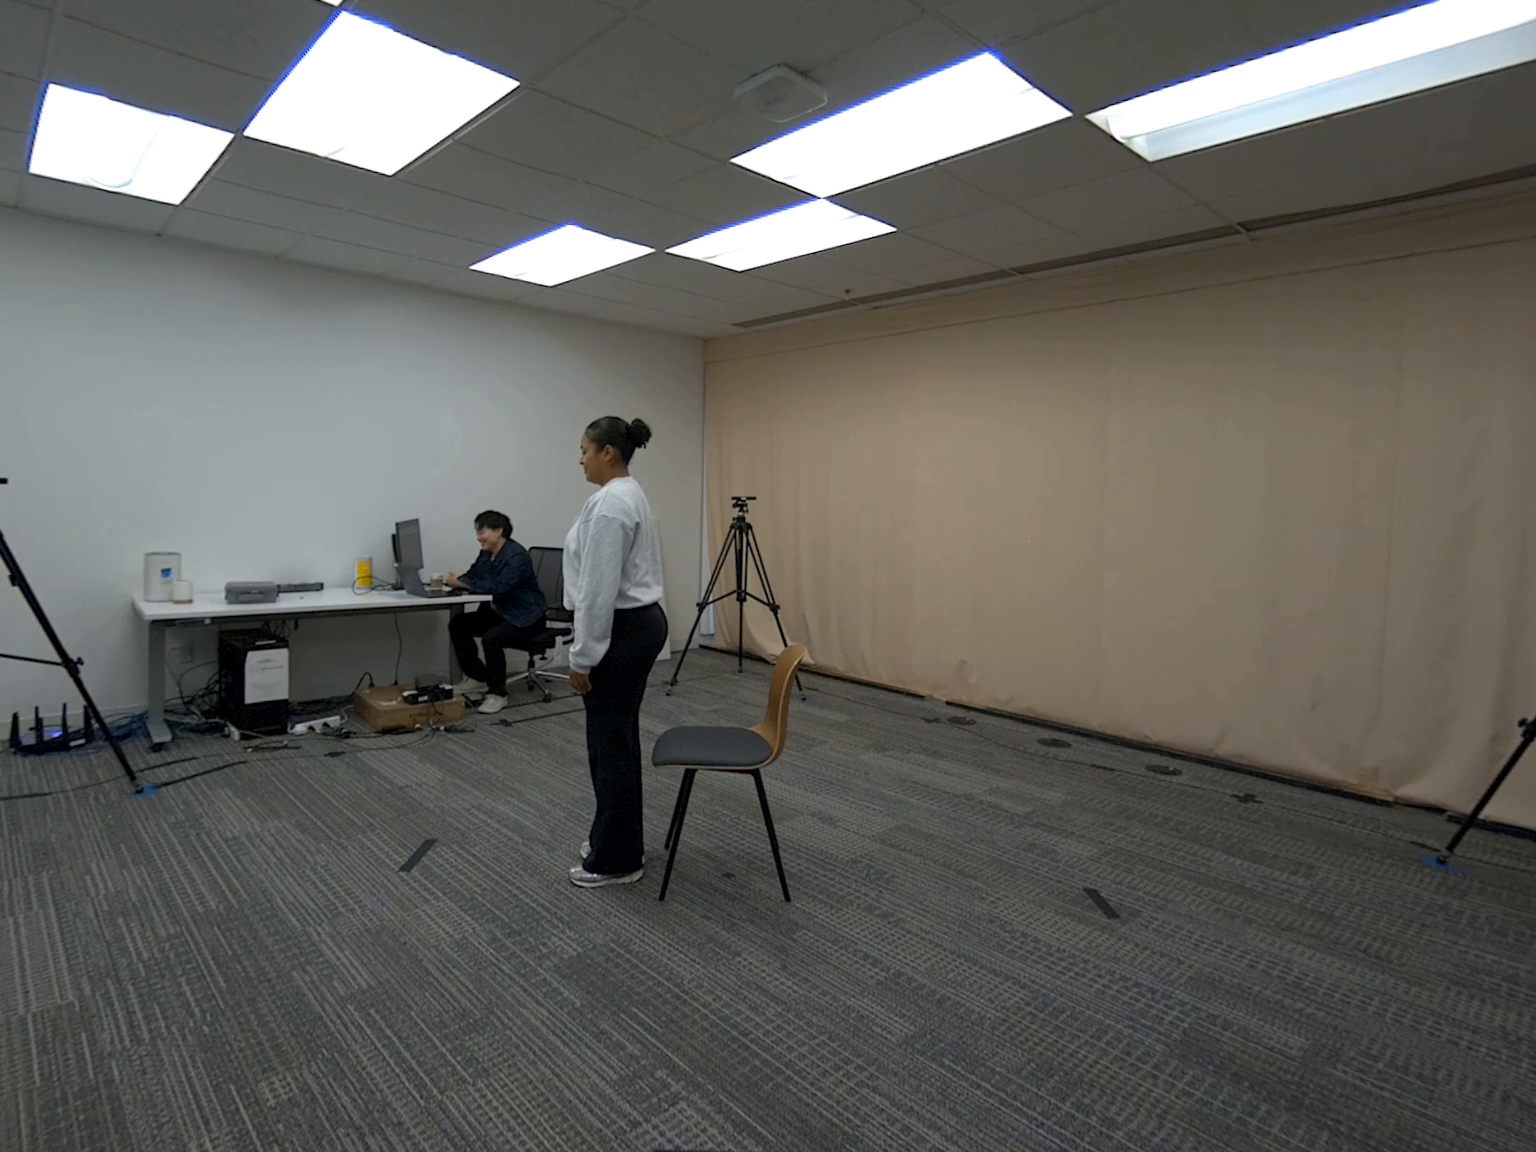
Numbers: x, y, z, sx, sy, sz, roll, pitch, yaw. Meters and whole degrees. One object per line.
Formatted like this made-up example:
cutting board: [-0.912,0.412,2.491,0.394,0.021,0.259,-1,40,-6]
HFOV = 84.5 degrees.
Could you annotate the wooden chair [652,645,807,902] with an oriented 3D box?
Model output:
wooden chair: [-0.166,0.677,3.087,0.521,0.875,0.481,5,4,-4]
